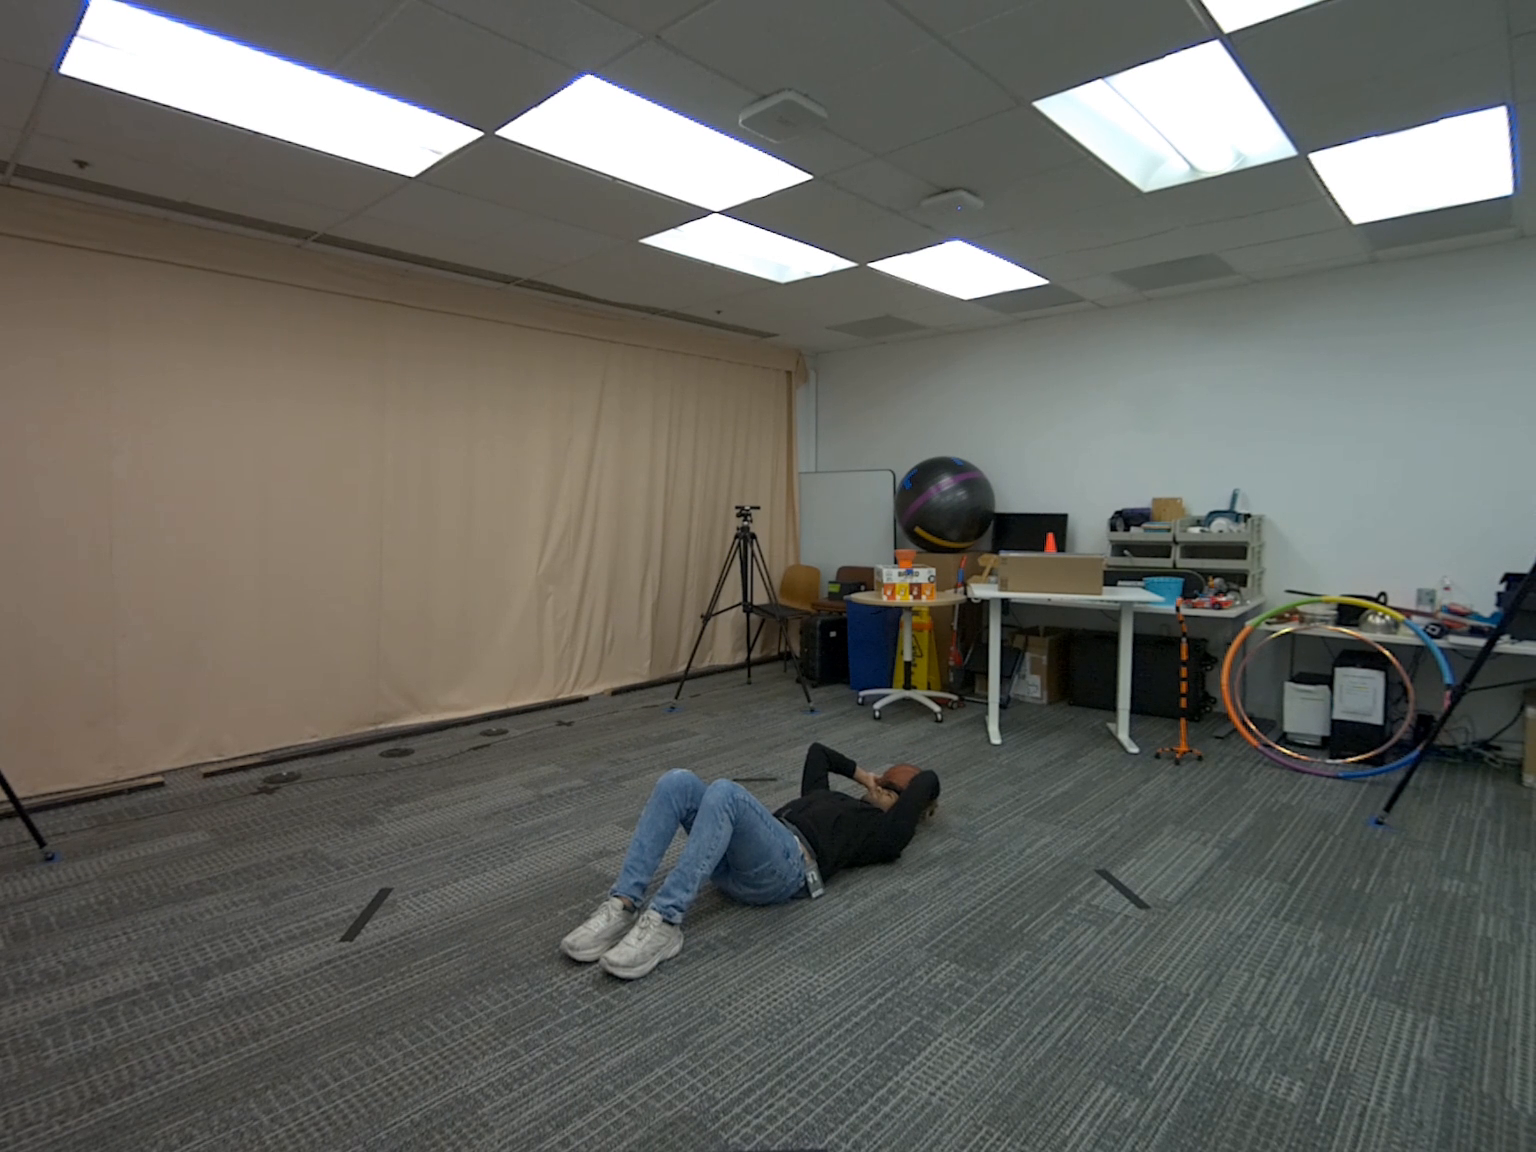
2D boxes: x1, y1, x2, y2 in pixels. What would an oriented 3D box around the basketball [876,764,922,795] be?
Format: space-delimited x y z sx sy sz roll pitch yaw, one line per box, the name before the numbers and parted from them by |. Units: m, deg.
basketball | 0.618 0.957 3.750 0.236 0.235 0.237 0 4 -2
